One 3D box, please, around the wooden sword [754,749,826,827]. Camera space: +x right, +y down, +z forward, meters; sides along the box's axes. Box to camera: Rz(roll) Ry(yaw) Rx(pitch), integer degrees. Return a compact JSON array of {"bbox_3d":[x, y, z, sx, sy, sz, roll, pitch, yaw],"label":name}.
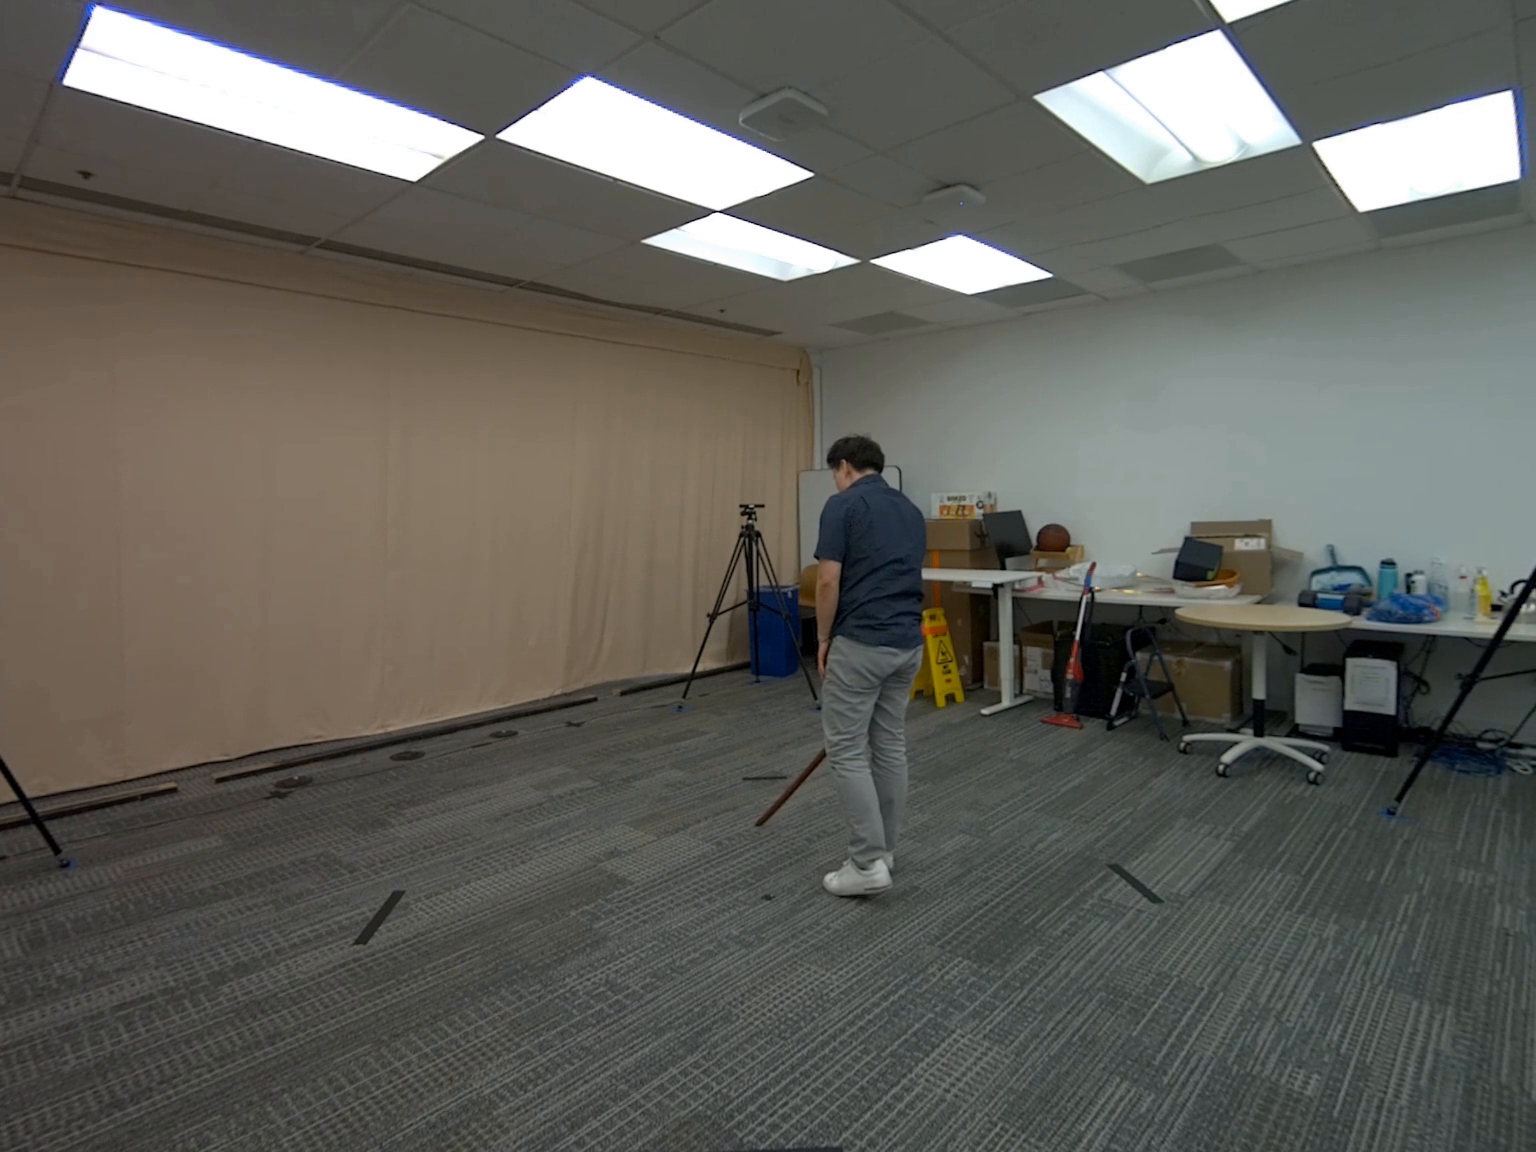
[{"bbox_3d":[0.277,0.694,3.554,0.024,1.026,0.050,41,9,13],"label":"wooden sword"}]
